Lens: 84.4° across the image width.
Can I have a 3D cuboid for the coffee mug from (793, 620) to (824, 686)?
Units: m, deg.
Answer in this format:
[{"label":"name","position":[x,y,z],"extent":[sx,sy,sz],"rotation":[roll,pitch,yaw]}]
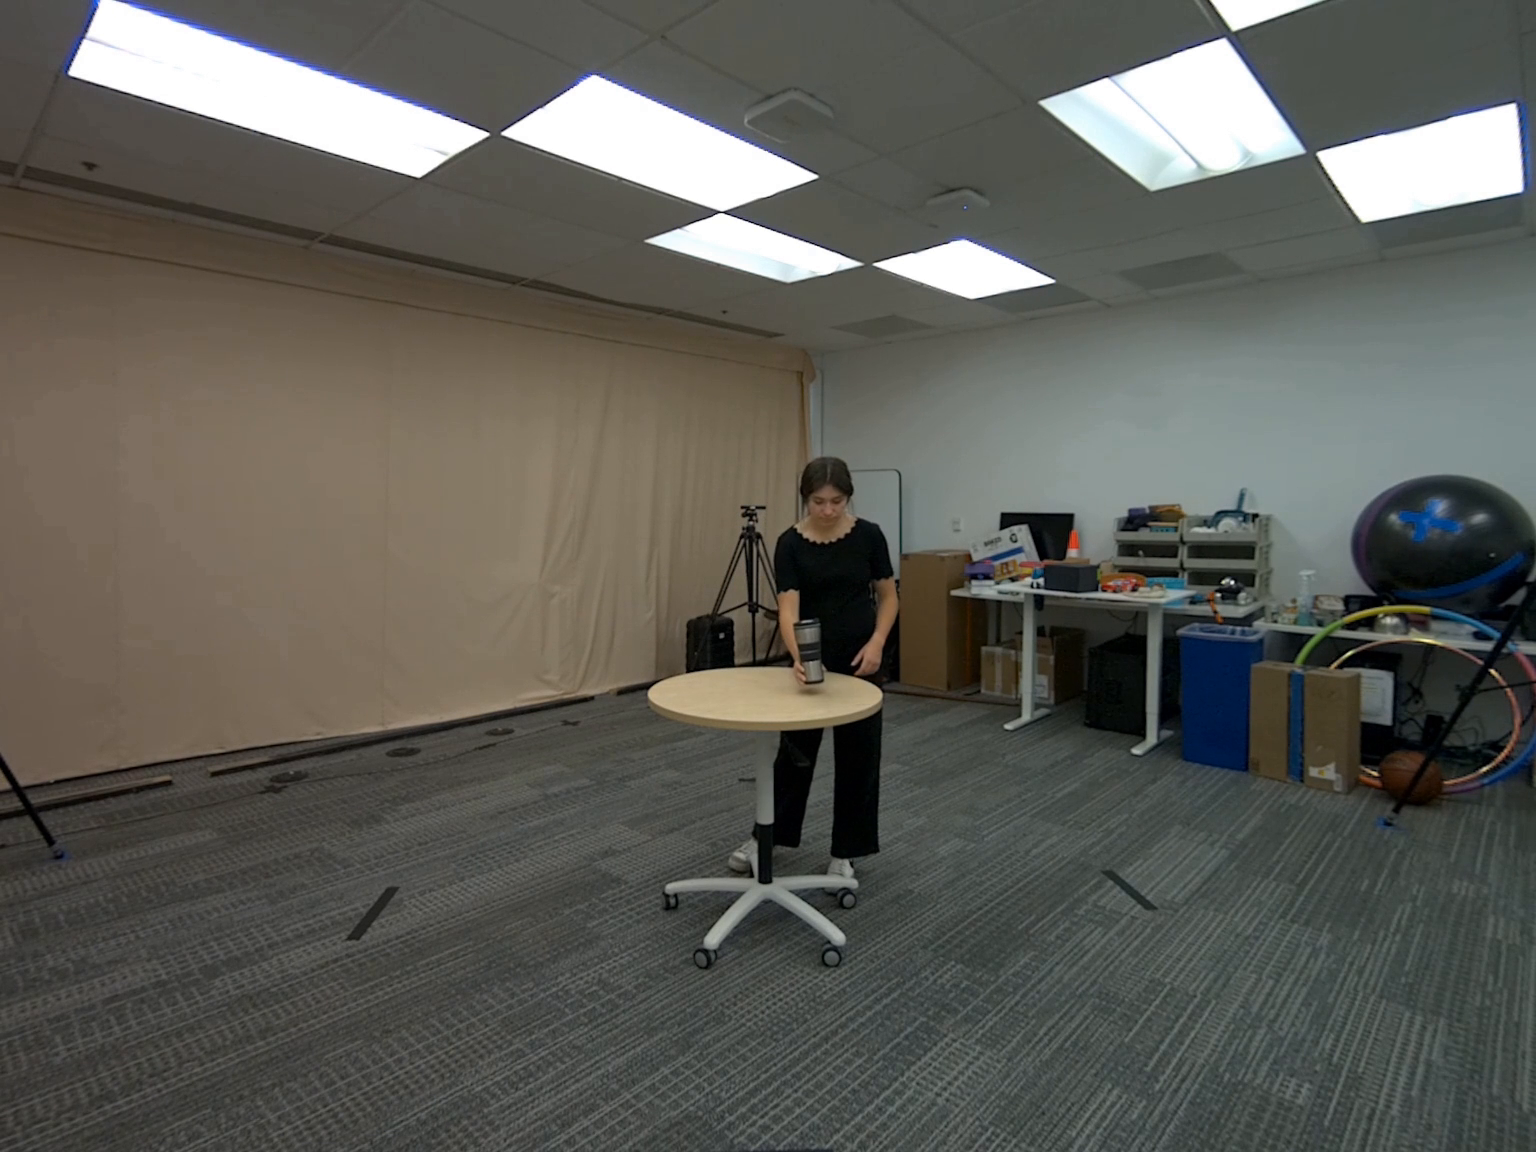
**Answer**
[{"label":"coffee mug","position":[0.144,0.243,2.731],"extent":[0.119,0.203,0.090],"rotation":[-9,-3,-35]}]
